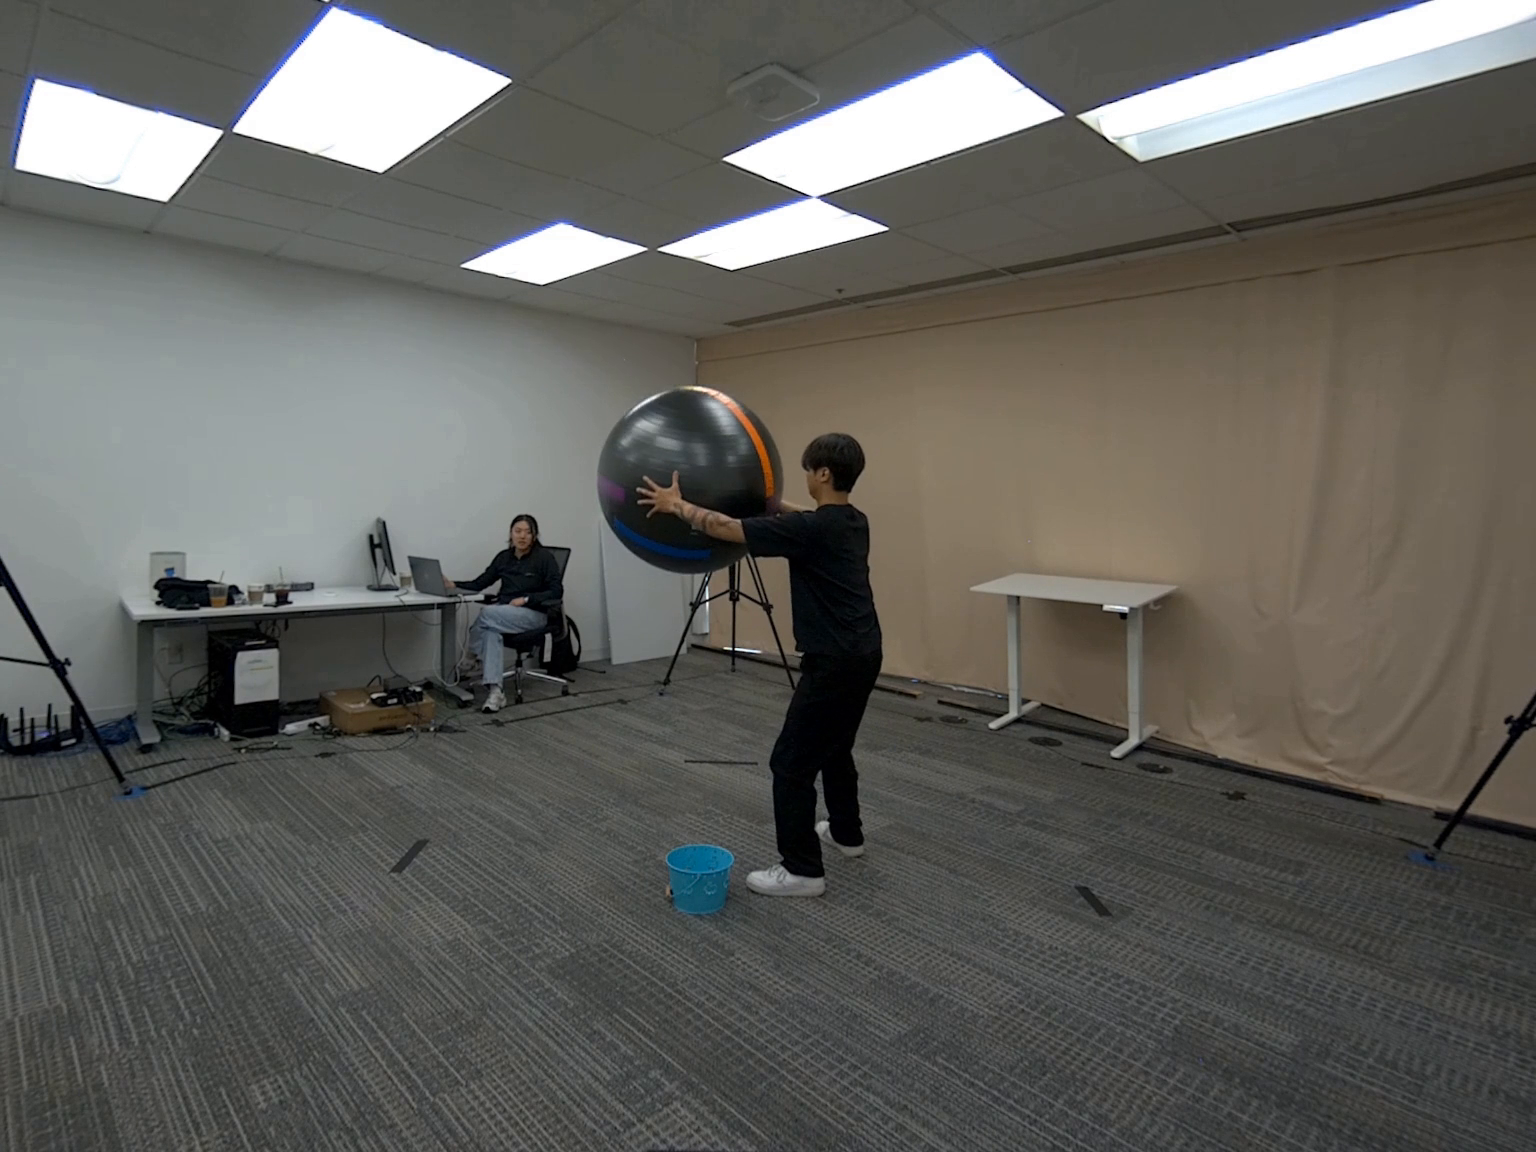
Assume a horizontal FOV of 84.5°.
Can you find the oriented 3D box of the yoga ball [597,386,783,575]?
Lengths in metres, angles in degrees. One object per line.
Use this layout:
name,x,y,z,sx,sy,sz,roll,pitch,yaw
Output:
yoga ball,-0.322,-0.385,3.461,0.757,0.756,0.761,1,4,-1
